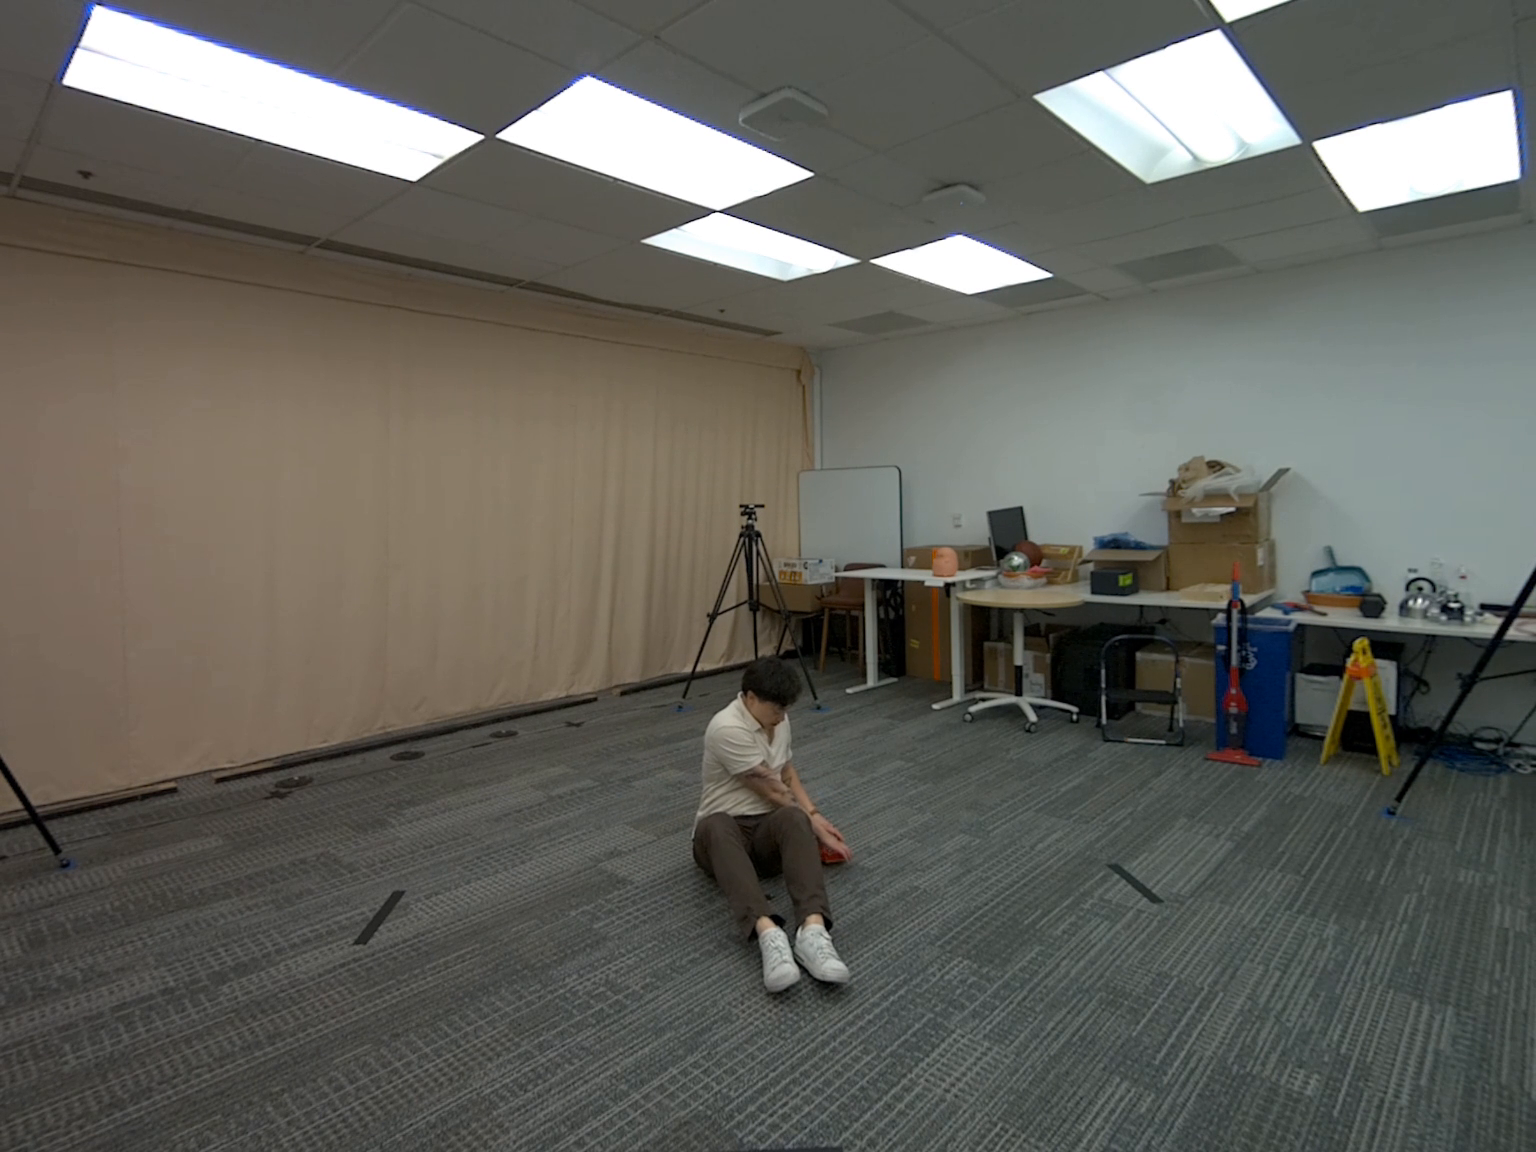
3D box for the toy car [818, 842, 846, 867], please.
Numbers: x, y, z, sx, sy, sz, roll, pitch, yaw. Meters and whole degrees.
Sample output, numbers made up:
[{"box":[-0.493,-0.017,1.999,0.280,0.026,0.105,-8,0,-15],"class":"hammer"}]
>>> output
[{"box":[0.233,1.072,3.307,0.128,0.083,0.257,0,-5,-14],"class":"toy car"}]
